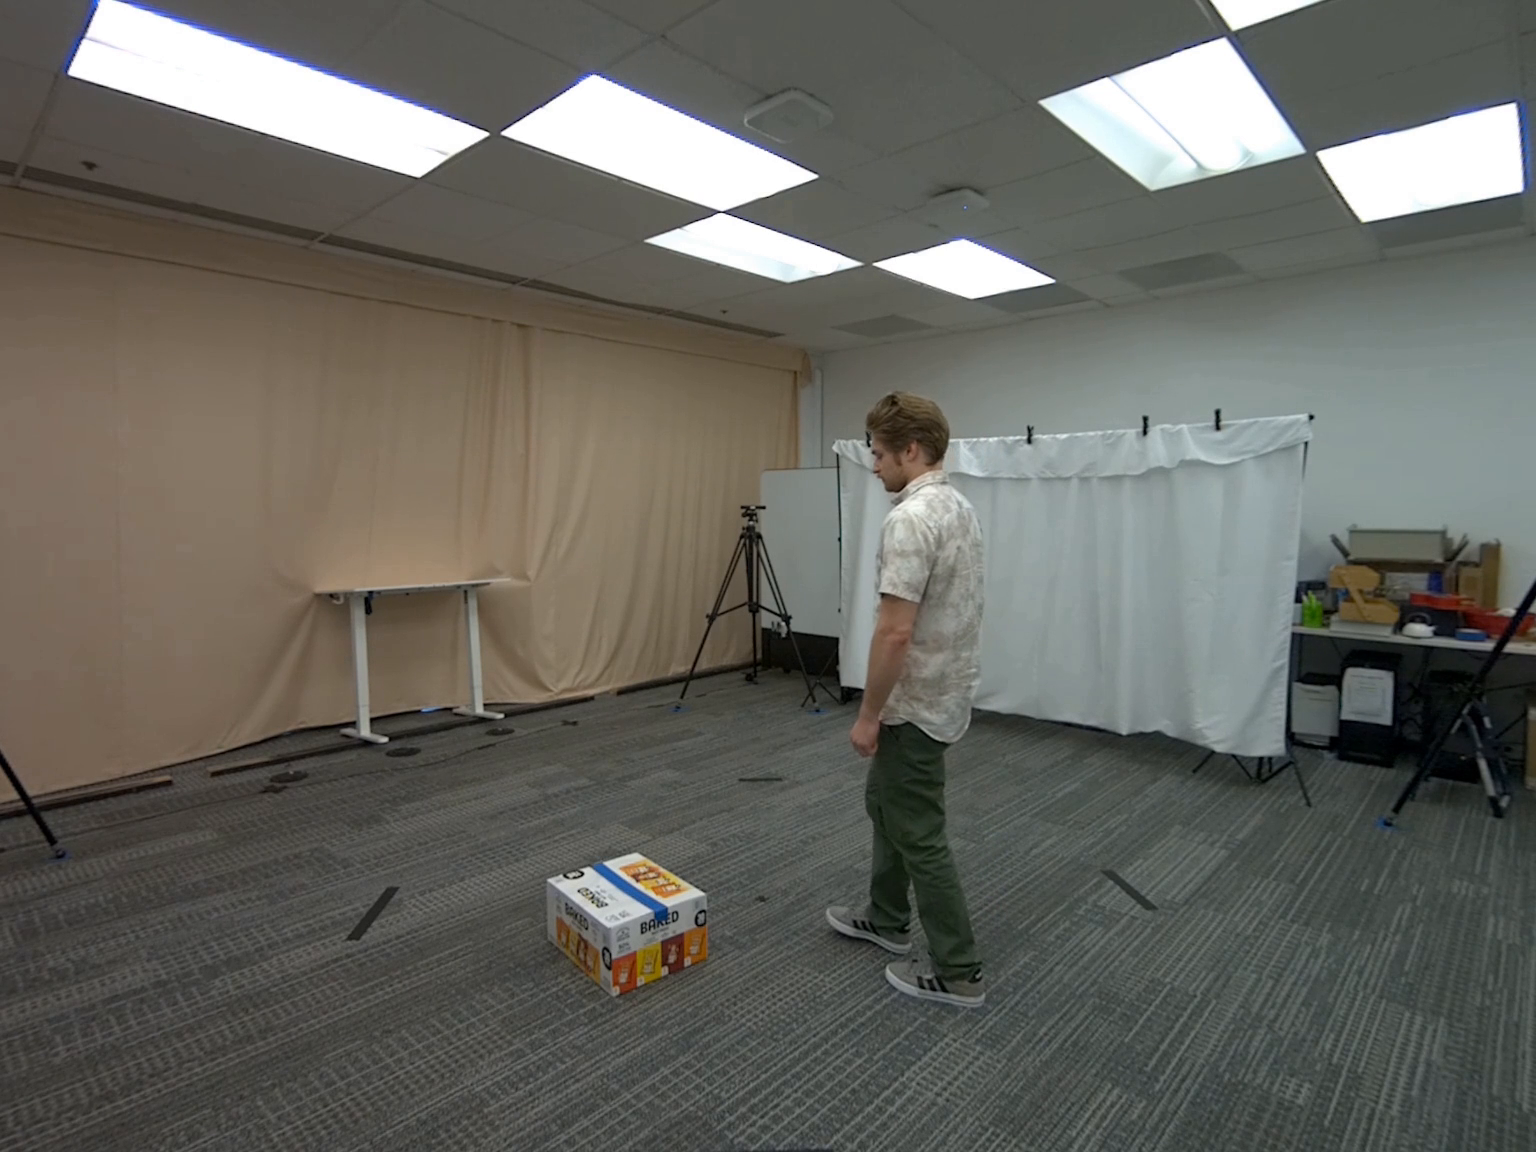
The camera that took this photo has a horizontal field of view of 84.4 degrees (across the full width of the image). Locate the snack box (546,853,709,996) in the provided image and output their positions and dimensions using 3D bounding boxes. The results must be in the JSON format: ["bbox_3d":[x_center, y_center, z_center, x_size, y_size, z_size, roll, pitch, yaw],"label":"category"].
[{"bbox_3d":[-0.446,1.076,2.635,0.330,0.205,0.418,-3,5,-39],"label":"snack box"}]
